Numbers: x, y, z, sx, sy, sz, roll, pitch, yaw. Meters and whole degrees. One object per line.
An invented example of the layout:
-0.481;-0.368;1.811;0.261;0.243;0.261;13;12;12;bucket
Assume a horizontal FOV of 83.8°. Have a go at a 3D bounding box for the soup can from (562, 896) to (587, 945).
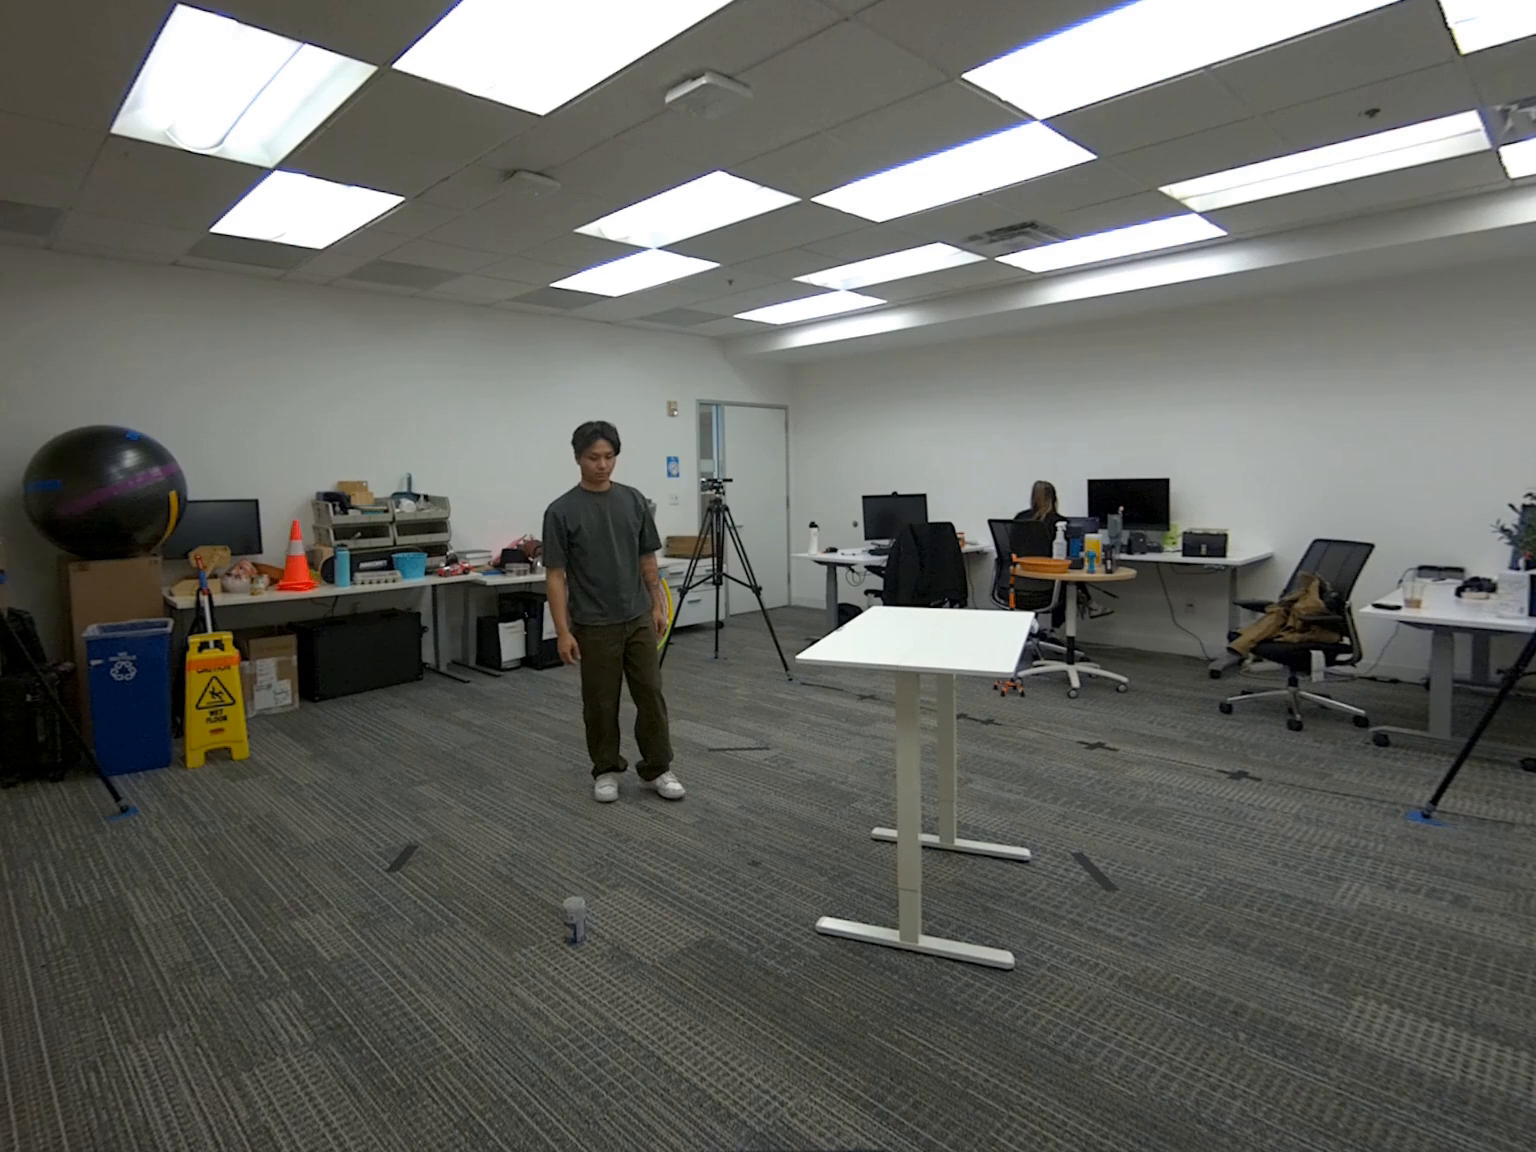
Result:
-0.588;1.060;2.614;0.067;0.121;0.067;-1;6;-2;soup can
